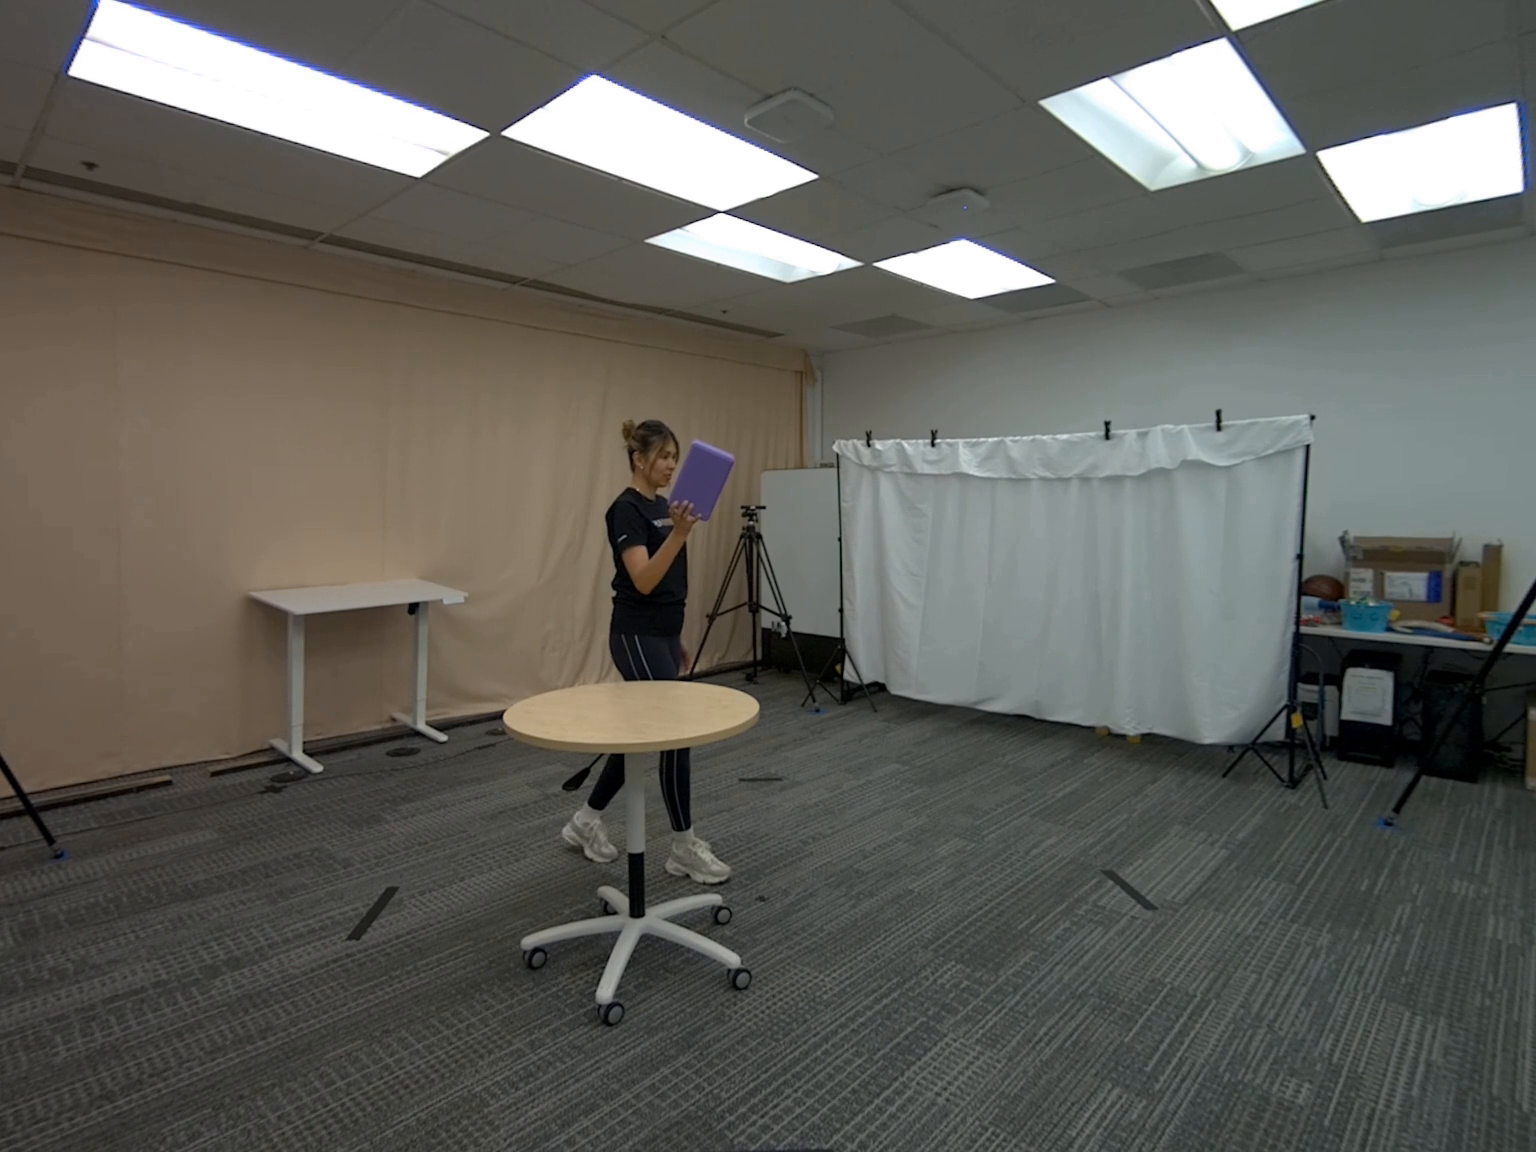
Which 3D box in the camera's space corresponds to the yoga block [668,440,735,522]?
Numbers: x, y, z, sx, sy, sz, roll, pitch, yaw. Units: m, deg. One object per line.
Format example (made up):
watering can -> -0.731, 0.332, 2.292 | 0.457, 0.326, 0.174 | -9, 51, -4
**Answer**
yoga block -> -0.221, -0.317, 2.750 | 0.149, 0.229, 0.076 | 25, 17, -1
